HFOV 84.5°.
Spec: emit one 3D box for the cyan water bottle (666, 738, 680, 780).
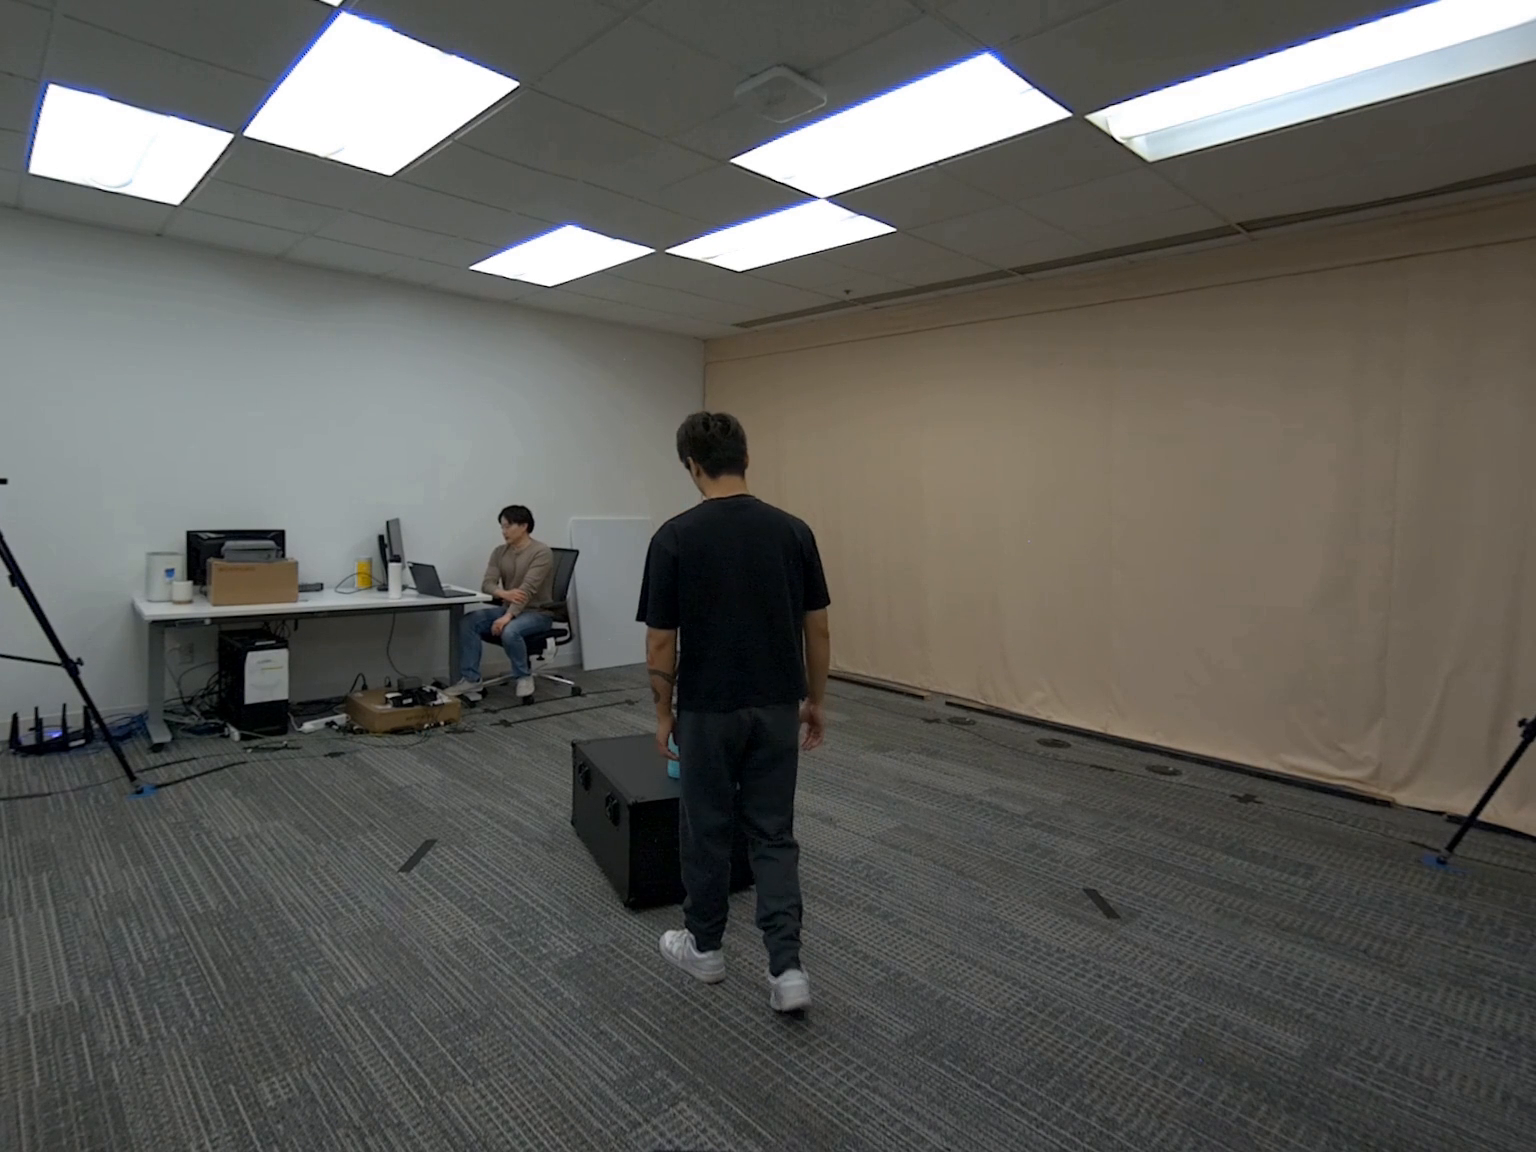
[{"bbox_3d":[-0.321,0.589,3.084,0.092,0.283,0.092,2,2,-1],"label":"cyan water bottle"}]
